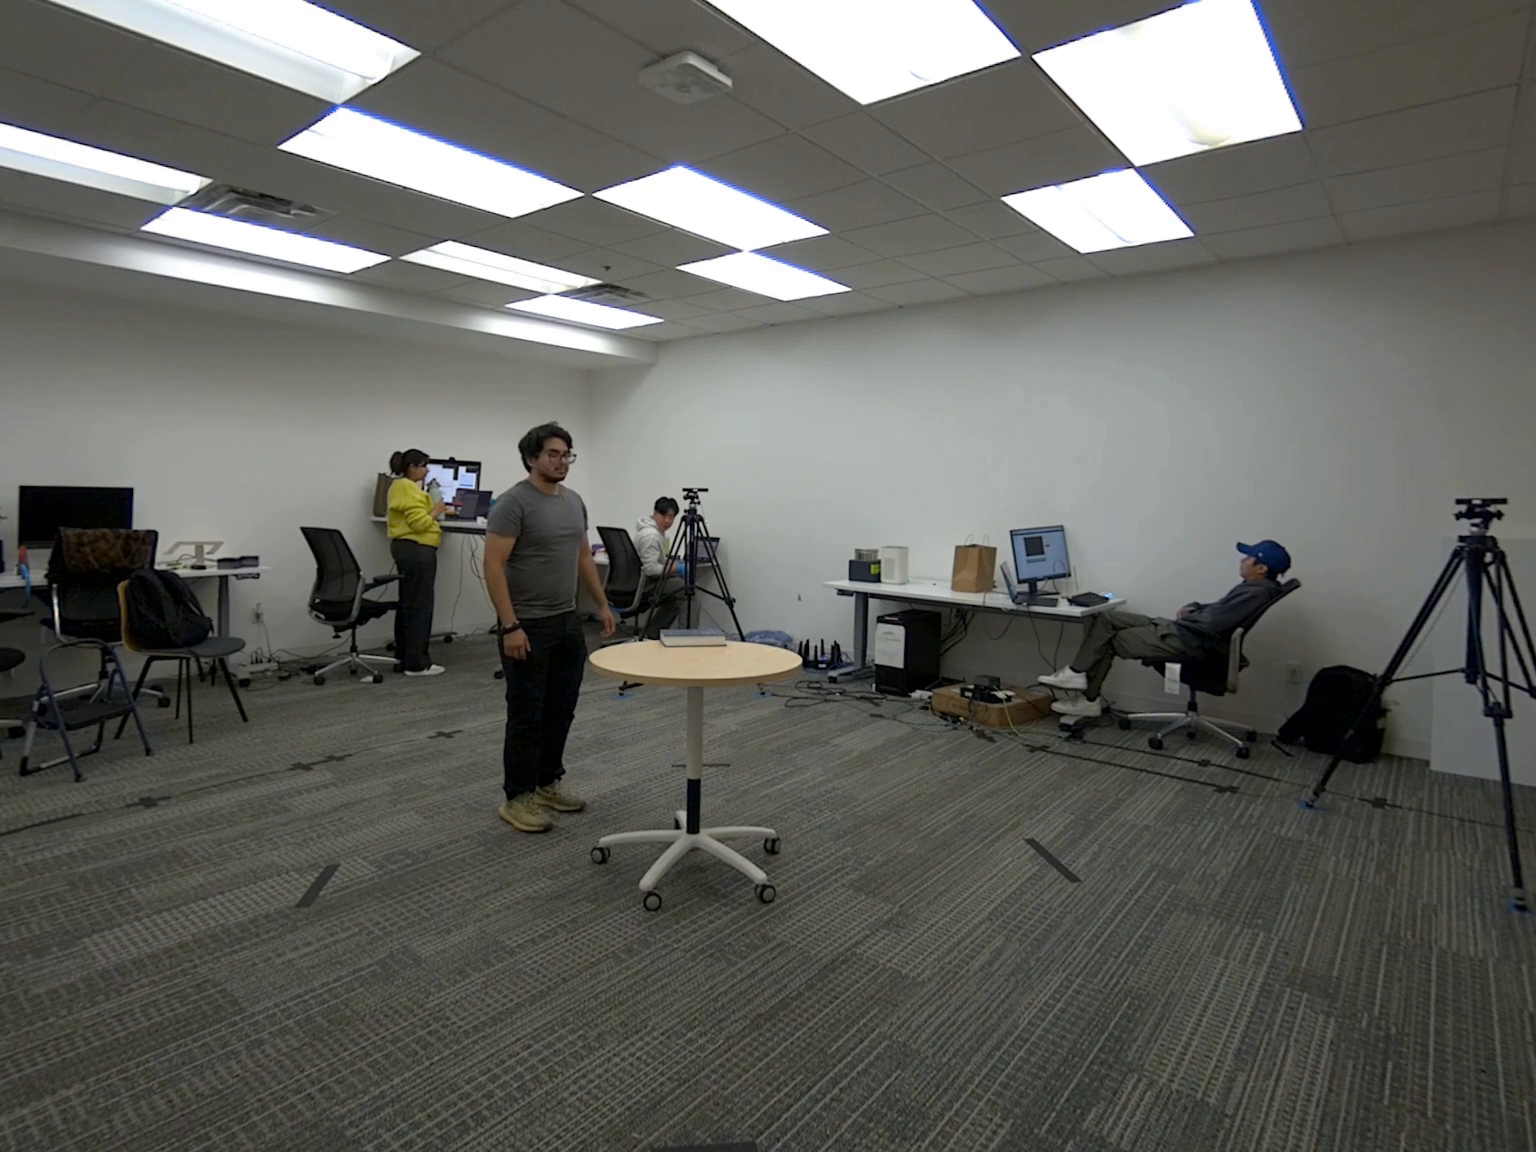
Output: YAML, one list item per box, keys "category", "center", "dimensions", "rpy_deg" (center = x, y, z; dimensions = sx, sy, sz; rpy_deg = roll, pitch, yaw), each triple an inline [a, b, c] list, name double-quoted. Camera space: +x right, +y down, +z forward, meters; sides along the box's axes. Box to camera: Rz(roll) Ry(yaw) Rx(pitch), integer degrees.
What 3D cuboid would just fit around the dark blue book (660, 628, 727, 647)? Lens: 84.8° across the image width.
- category: "dark blue book"
  center: [-0.309, 0.241, 3.381]
  dimensions: [0.242, 0.045, 0.166]
  rpy_deg: [0, 5, -12]
